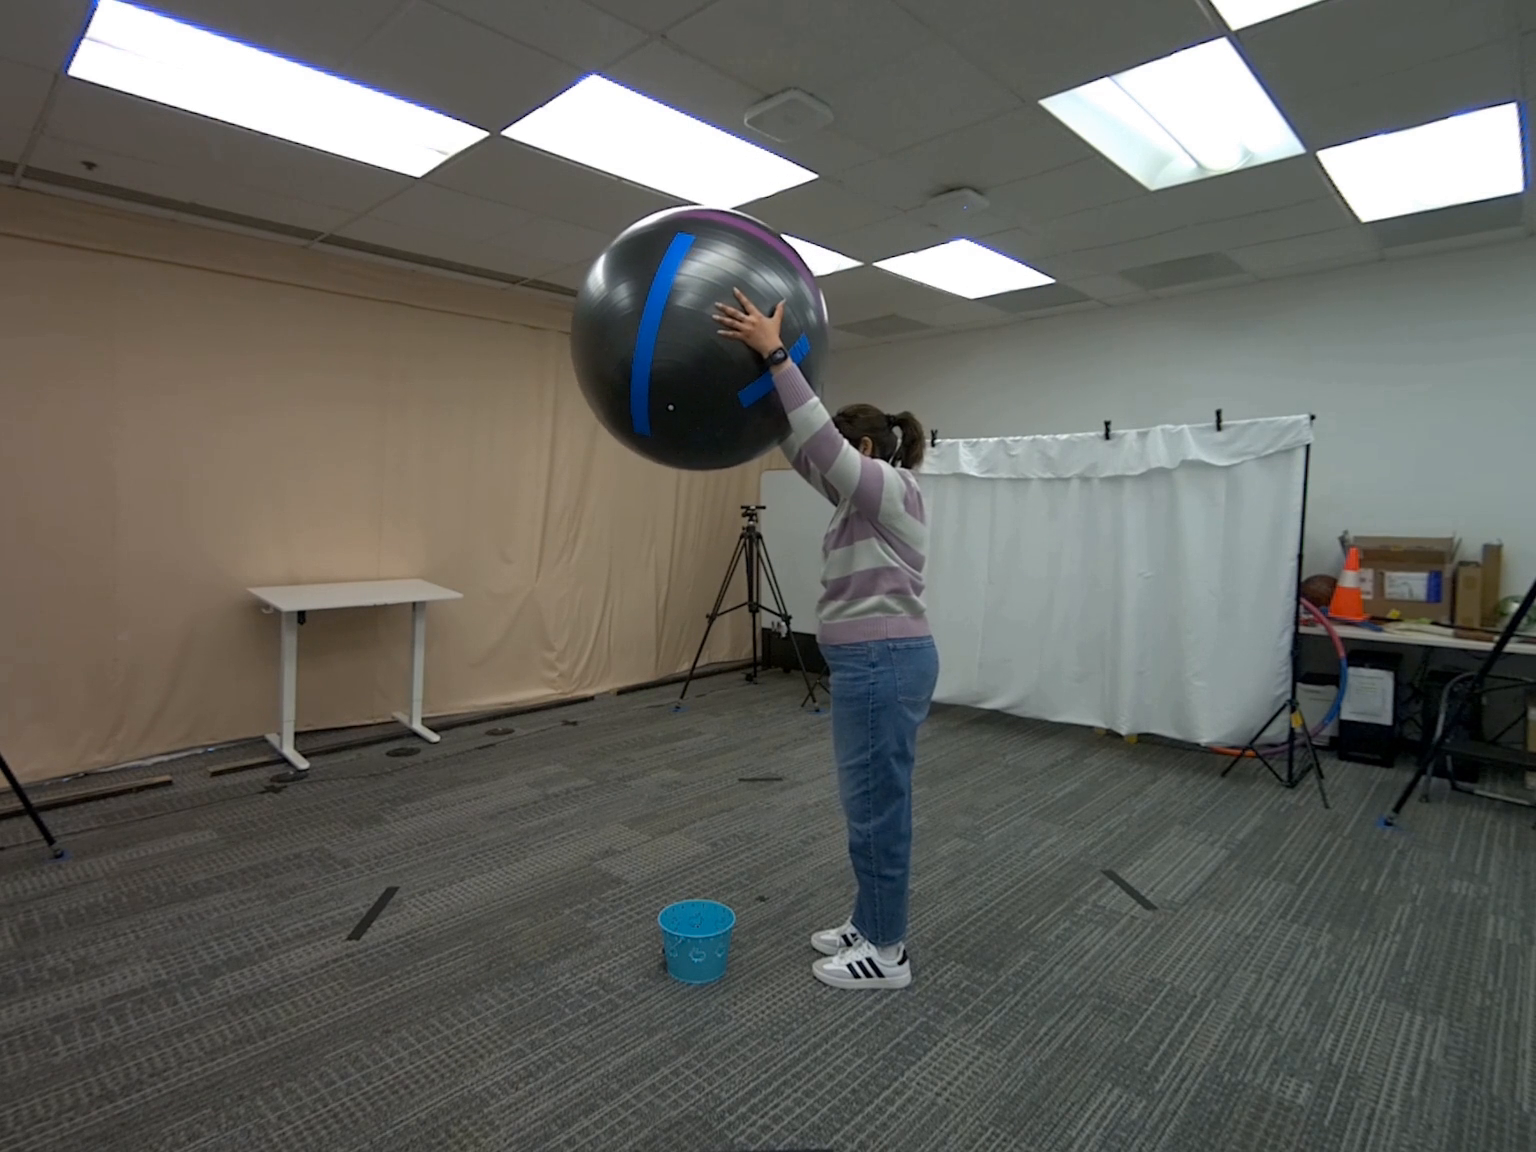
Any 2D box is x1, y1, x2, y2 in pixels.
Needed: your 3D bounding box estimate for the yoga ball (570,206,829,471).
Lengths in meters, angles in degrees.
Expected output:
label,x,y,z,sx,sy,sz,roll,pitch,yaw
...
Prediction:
label,x,y,z,sx,sy,sz,roll,pitch,yaw
yoga ball,-0.204,-0.681,2.491,0.757,0.756,0.761,0,4,-2
